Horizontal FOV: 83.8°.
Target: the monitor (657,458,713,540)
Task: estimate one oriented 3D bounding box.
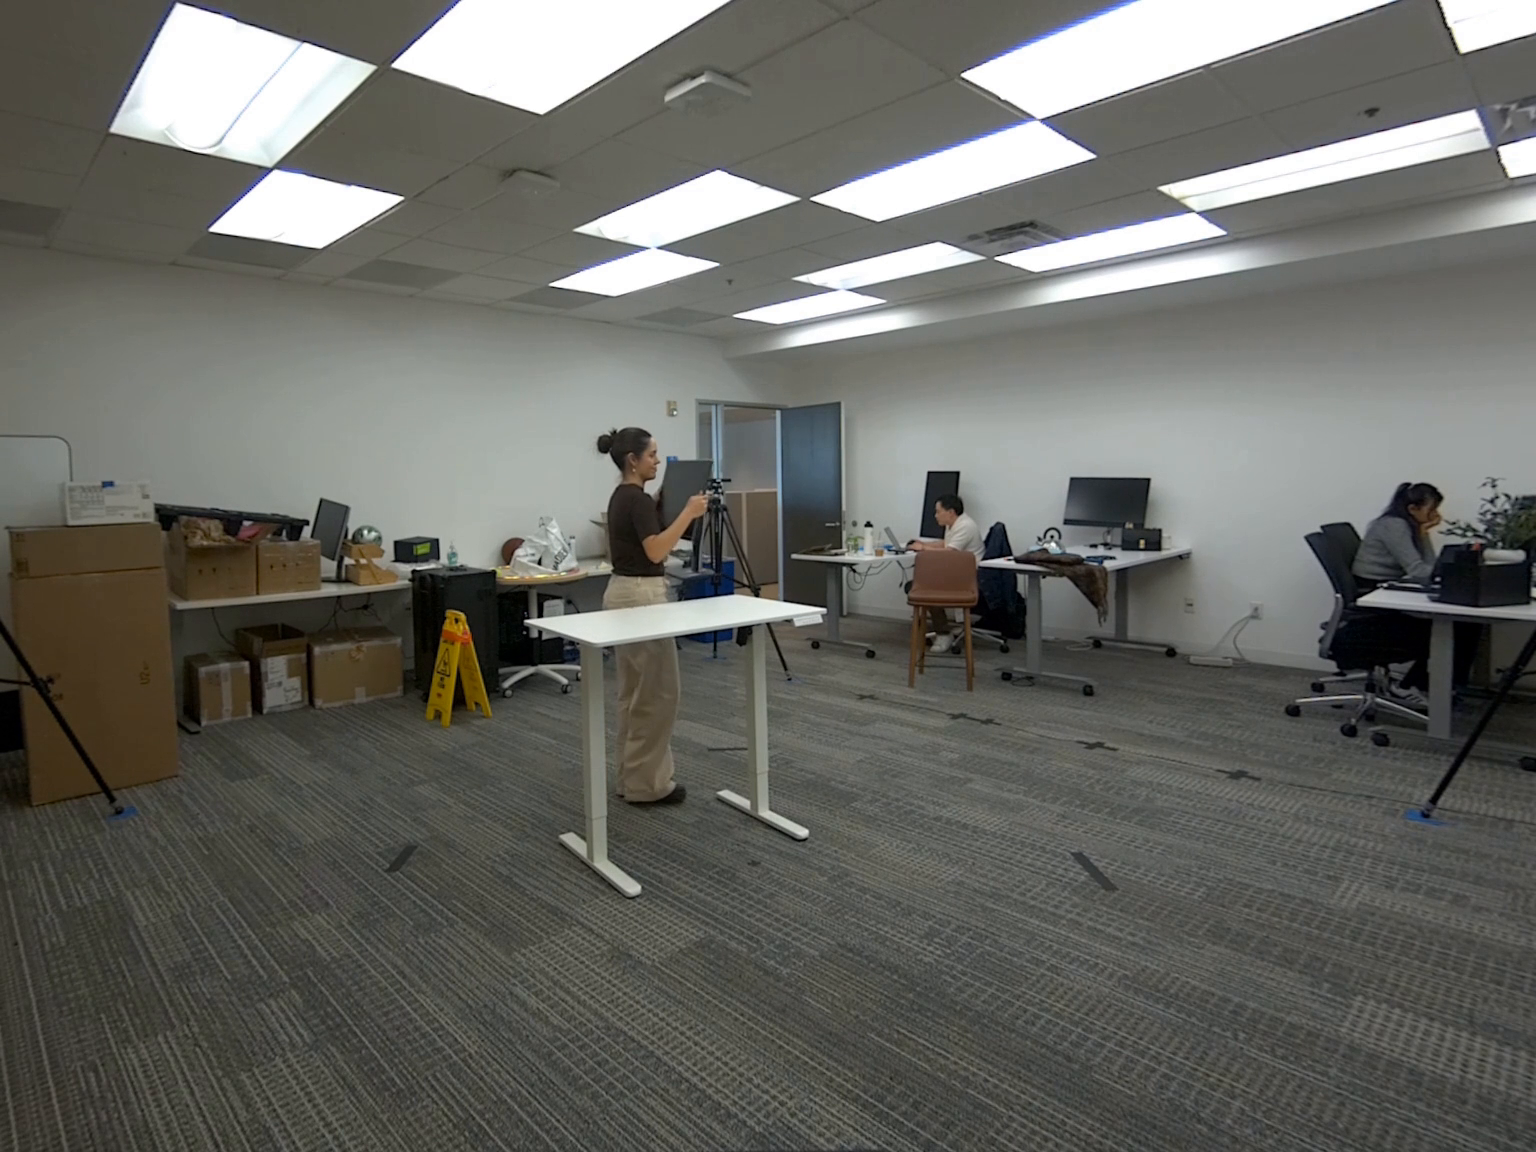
[{"bbox_3d":[-0.363,-0.257,3.851,0.183,0.520,0.554,-3,7,-28],"label":"monitor"}]
